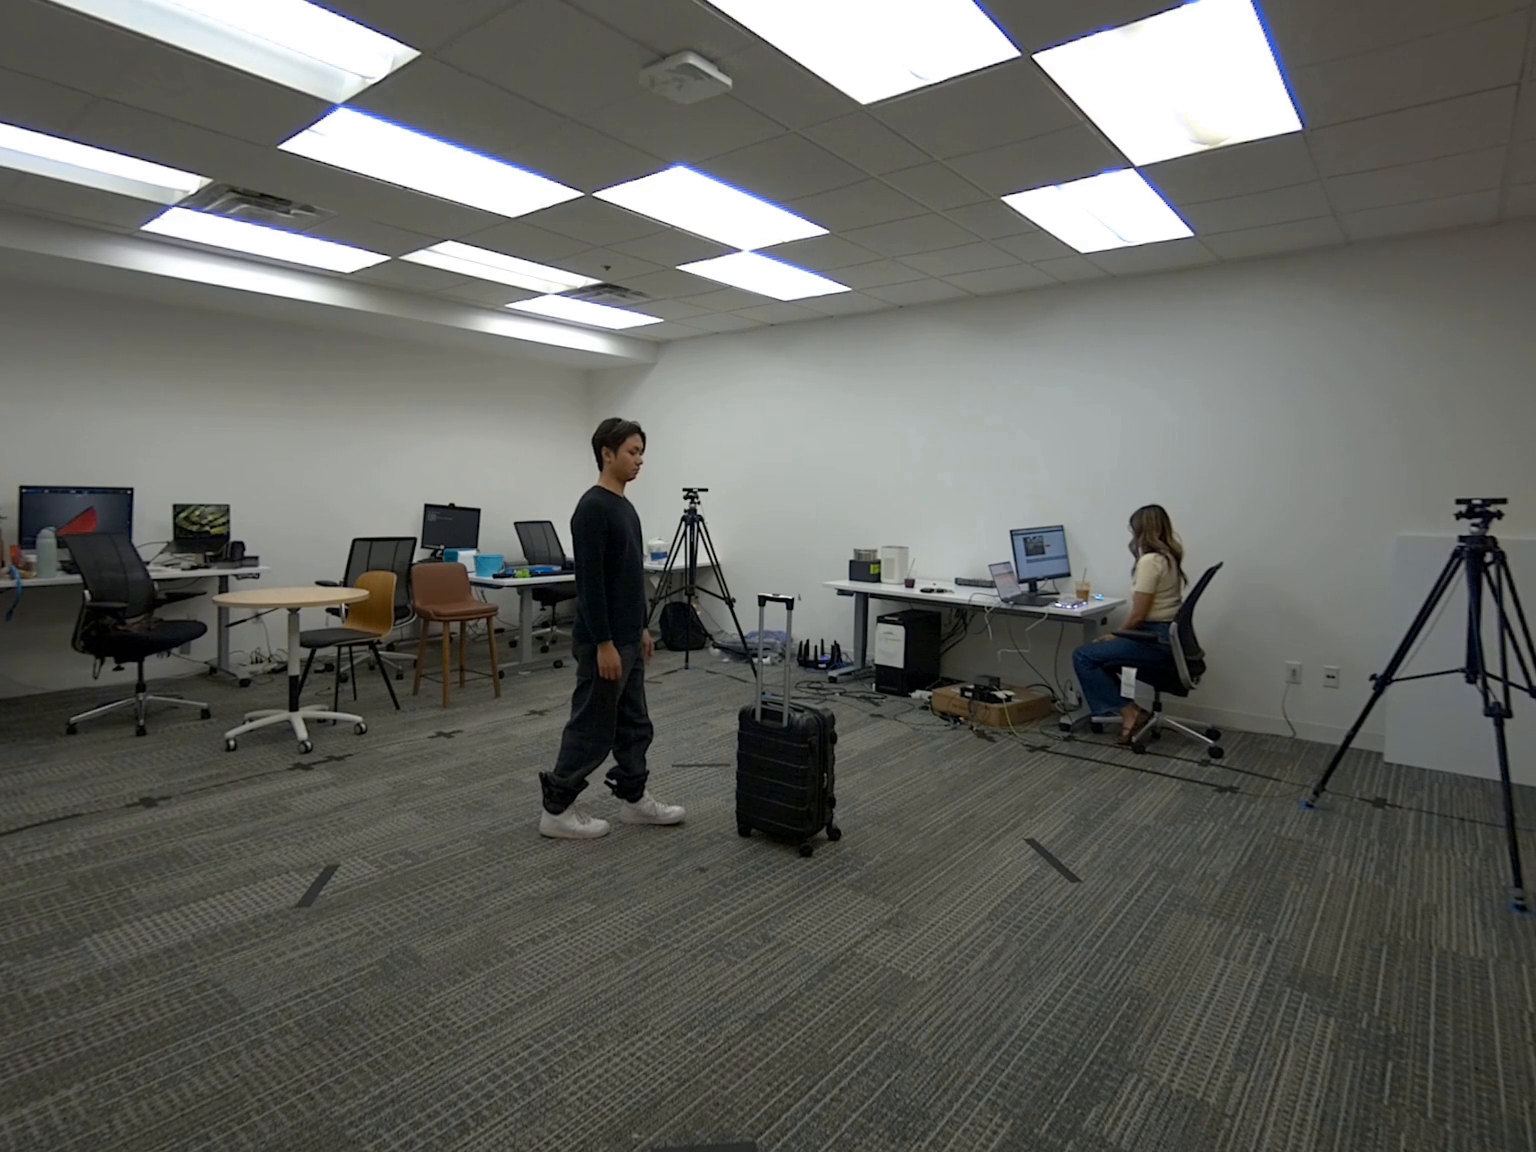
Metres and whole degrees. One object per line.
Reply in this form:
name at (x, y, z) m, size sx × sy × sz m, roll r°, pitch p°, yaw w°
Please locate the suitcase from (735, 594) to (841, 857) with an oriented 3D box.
suitcase at (0.065, 0.566, 3.405) m, size 0.396 × 0.977 × 0.249 m, roll 2°, pitch 2°, yaw 38°
